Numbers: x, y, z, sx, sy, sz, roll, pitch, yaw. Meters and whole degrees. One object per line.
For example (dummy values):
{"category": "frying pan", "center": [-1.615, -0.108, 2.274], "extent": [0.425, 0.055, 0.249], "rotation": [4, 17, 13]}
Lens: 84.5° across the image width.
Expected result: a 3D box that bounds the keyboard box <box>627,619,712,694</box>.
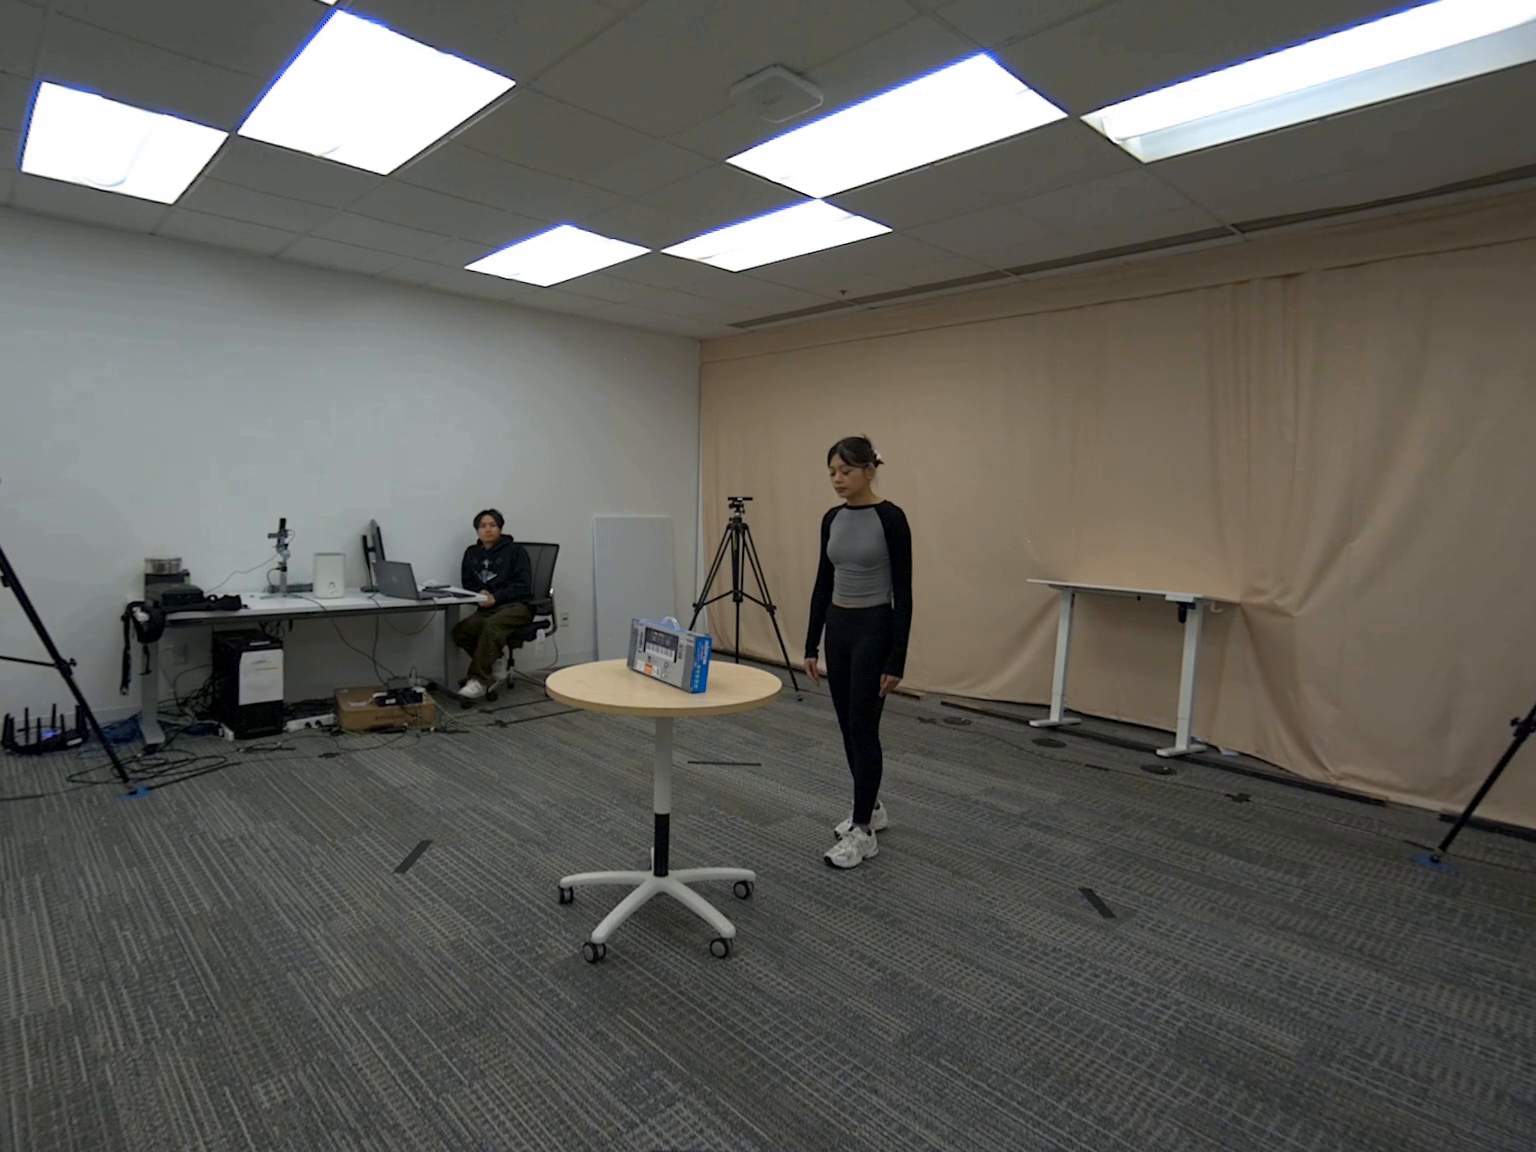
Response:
{"category": "keyboard box", "center": [-0.339, 0.256, 2.756], "extent": [0.058, 0.176, 0.447], "rotation": [6, 1, -35]}
